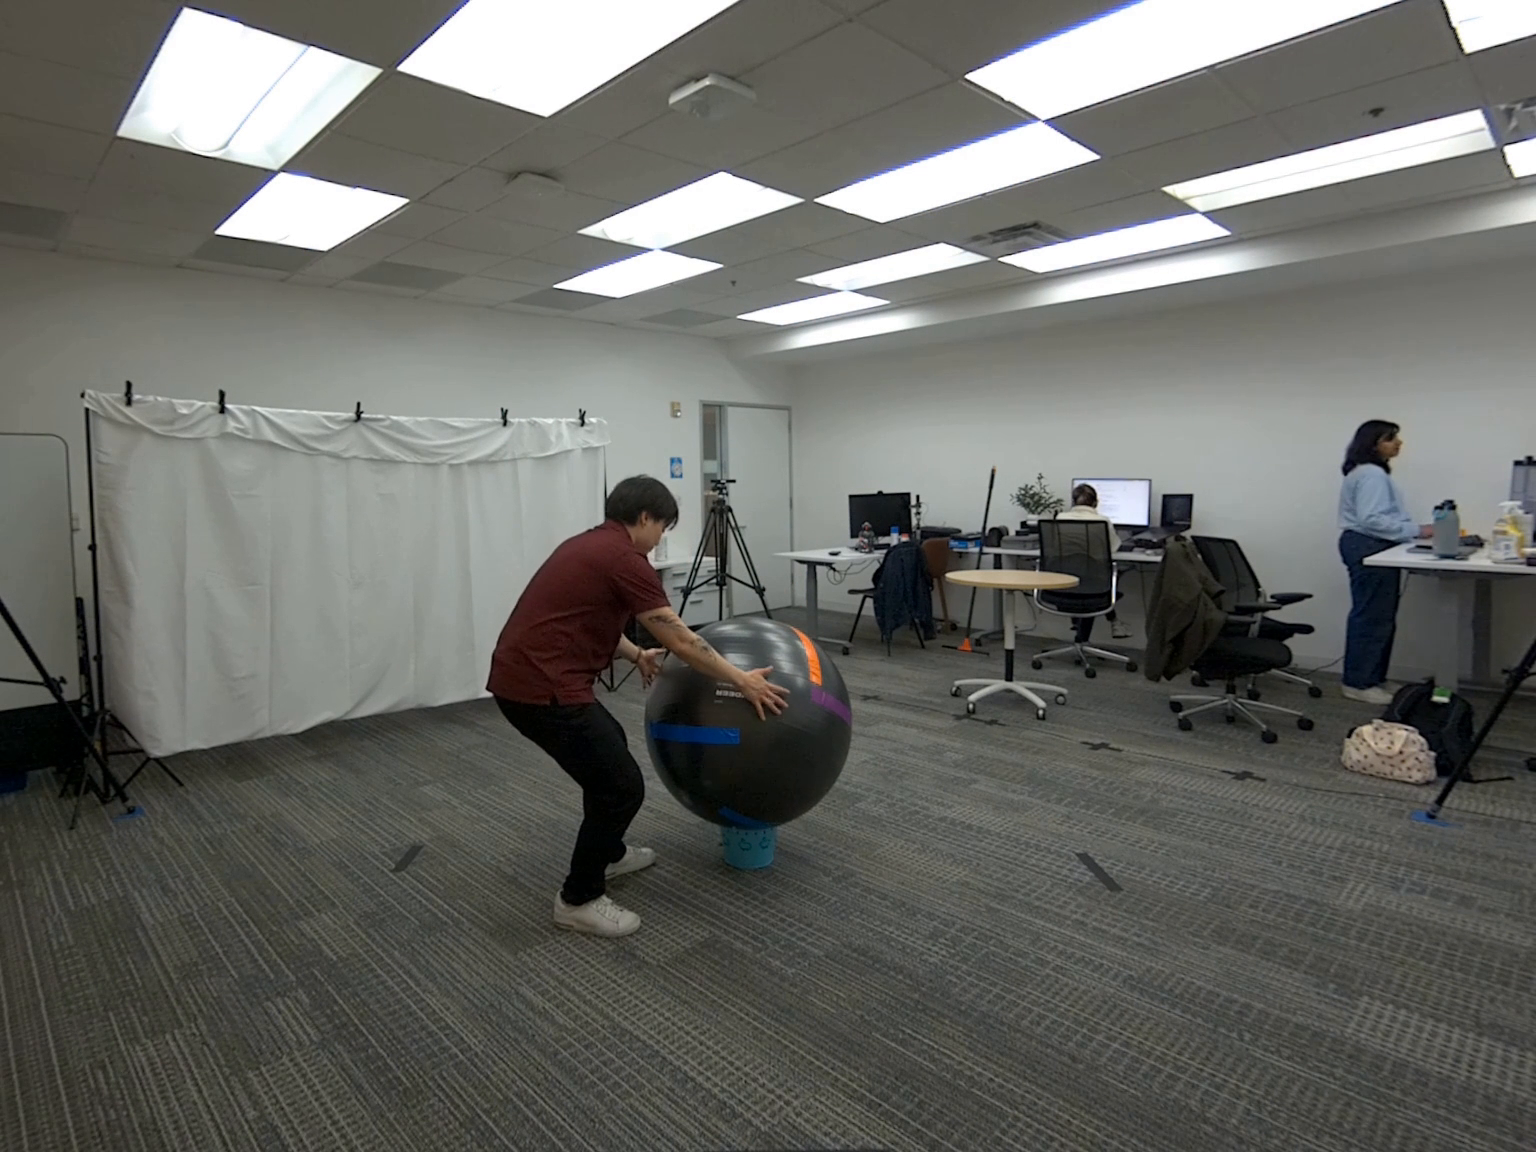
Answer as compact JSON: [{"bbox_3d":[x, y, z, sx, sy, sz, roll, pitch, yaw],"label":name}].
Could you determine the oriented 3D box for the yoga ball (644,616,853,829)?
[{"bbox_3d":[-0.070,0.537,3.134,0.757,0.755,0.762,-1,5,-2],"label":"yoga ball"}]
